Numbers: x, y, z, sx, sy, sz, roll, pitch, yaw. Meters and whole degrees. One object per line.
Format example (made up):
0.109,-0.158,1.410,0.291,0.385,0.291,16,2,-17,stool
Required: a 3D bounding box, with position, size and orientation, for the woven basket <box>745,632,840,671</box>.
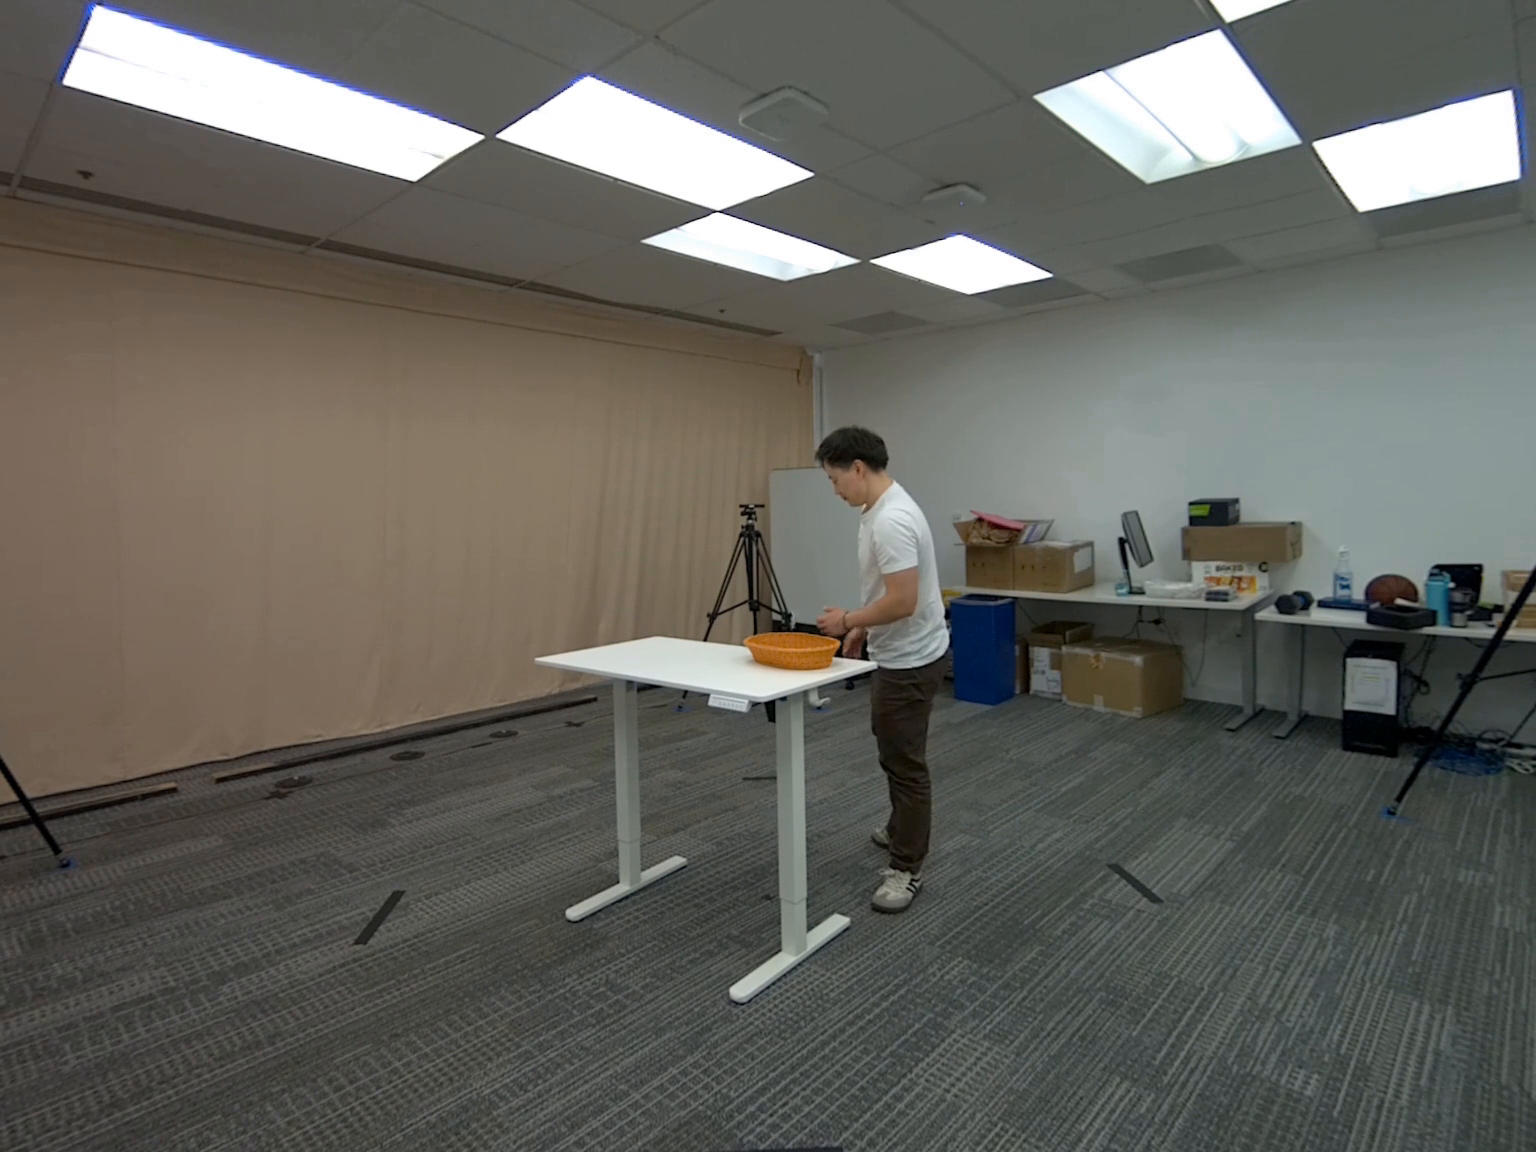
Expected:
0.066,0.250,2.692,0.245,0.073,0.361,-5,6,-32,woven basket
